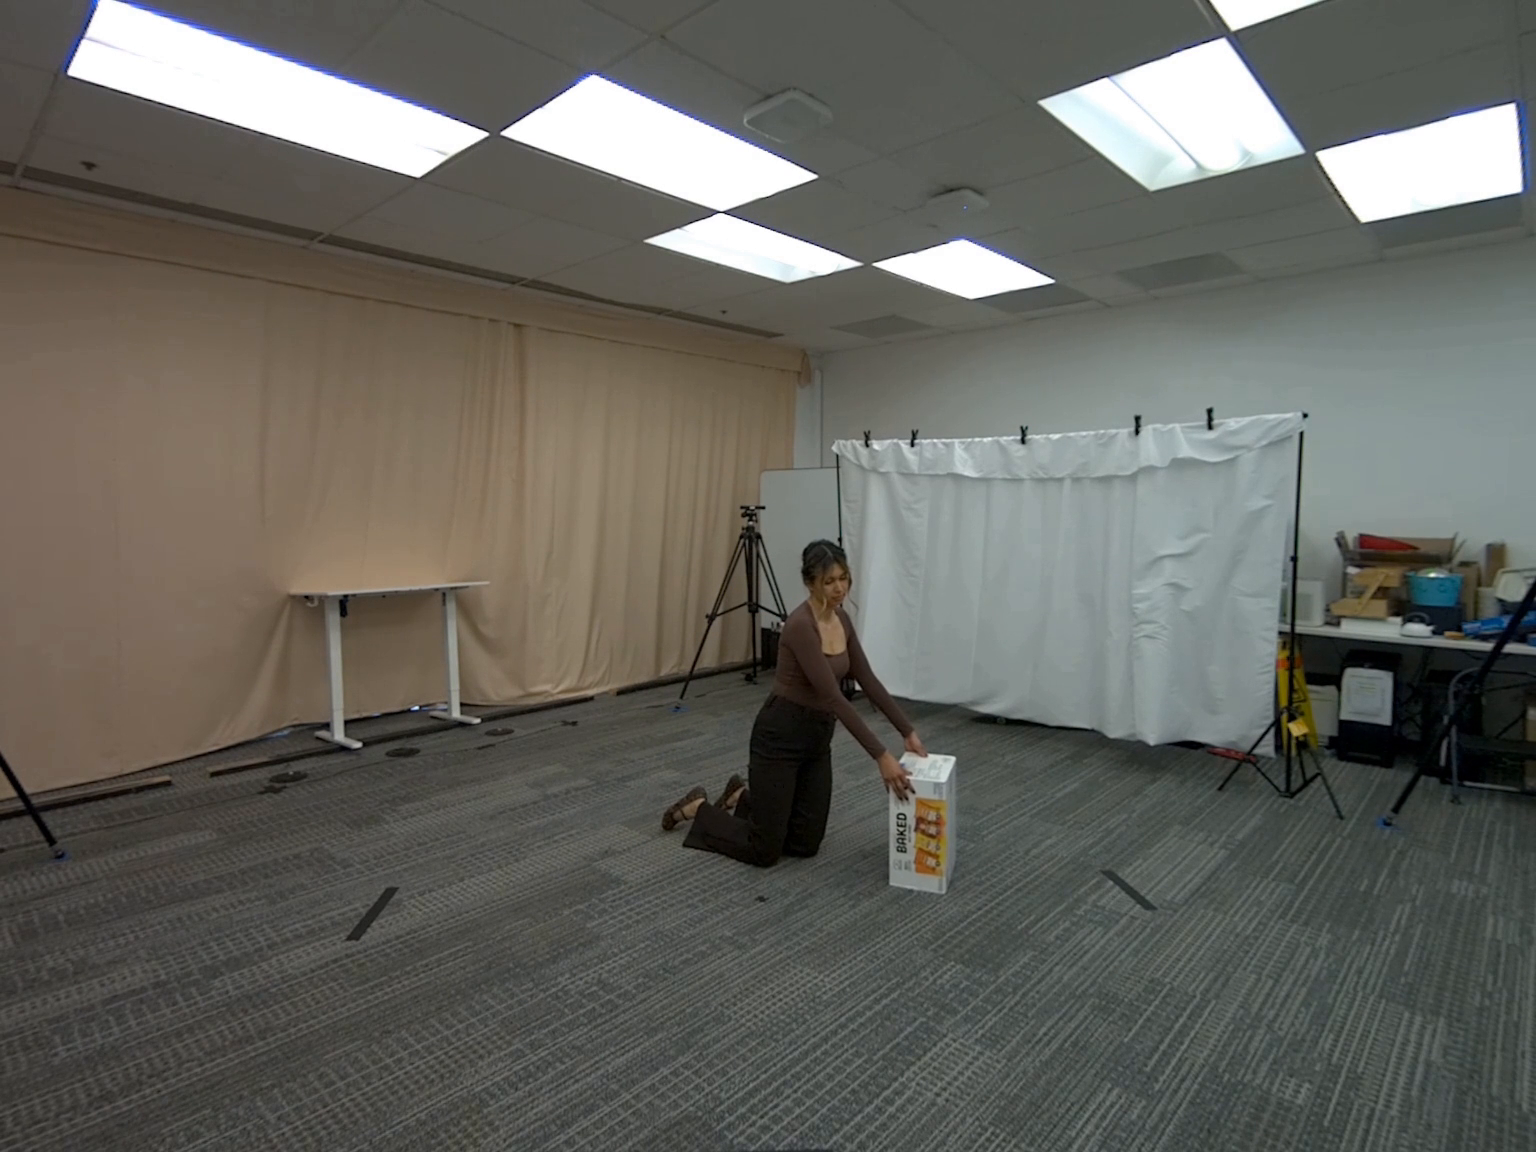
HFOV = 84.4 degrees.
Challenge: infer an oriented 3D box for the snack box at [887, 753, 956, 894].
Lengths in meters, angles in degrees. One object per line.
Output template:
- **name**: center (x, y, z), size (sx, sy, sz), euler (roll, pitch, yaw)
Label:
- **snack box**: center (0.593, 0.920, 3.198), size (0.210, 0.404, 0.334), euler (1, 3, 20)
